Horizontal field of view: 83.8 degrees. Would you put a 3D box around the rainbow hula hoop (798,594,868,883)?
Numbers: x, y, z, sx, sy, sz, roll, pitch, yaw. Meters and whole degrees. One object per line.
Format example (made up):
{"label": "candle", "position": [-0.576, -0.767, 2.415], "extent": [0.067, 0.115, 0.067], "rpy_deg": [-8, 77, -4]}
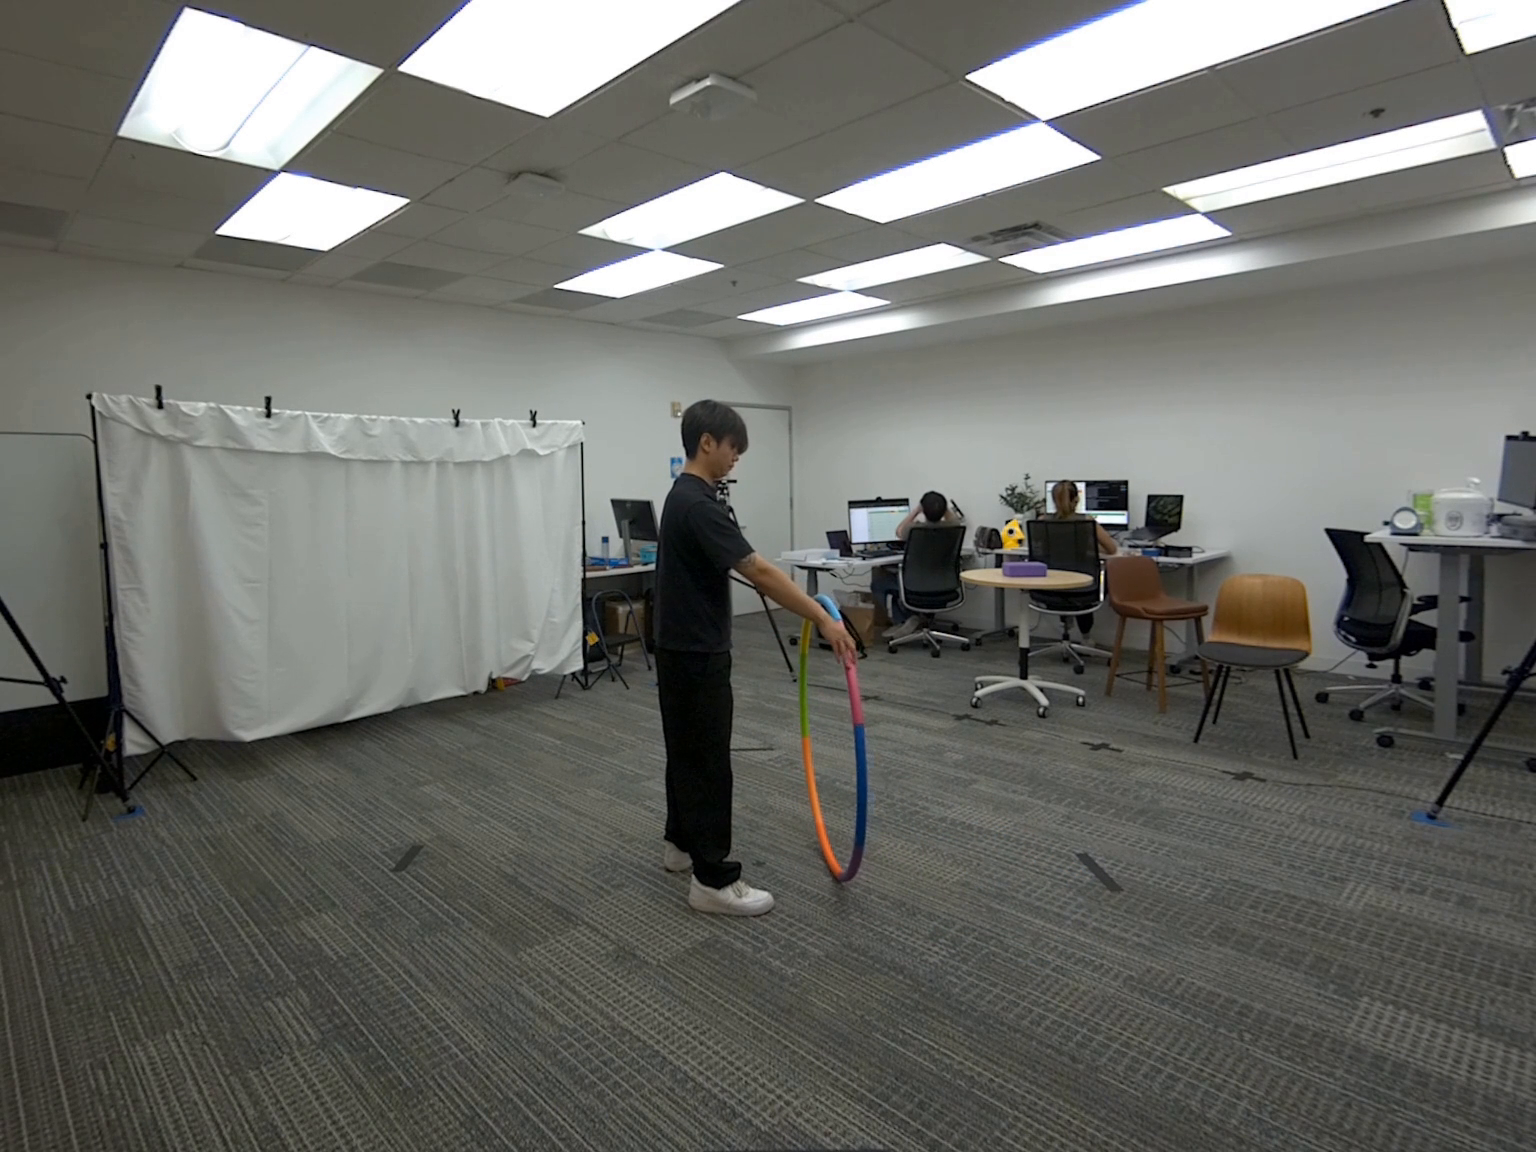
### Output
{"label": "rainbow hula hoop", "position": [0.213, 0.564, 3.040], "extent": [0.035, 0.975, 0.989], "rpy_deg": [-1, 5, -9]}
